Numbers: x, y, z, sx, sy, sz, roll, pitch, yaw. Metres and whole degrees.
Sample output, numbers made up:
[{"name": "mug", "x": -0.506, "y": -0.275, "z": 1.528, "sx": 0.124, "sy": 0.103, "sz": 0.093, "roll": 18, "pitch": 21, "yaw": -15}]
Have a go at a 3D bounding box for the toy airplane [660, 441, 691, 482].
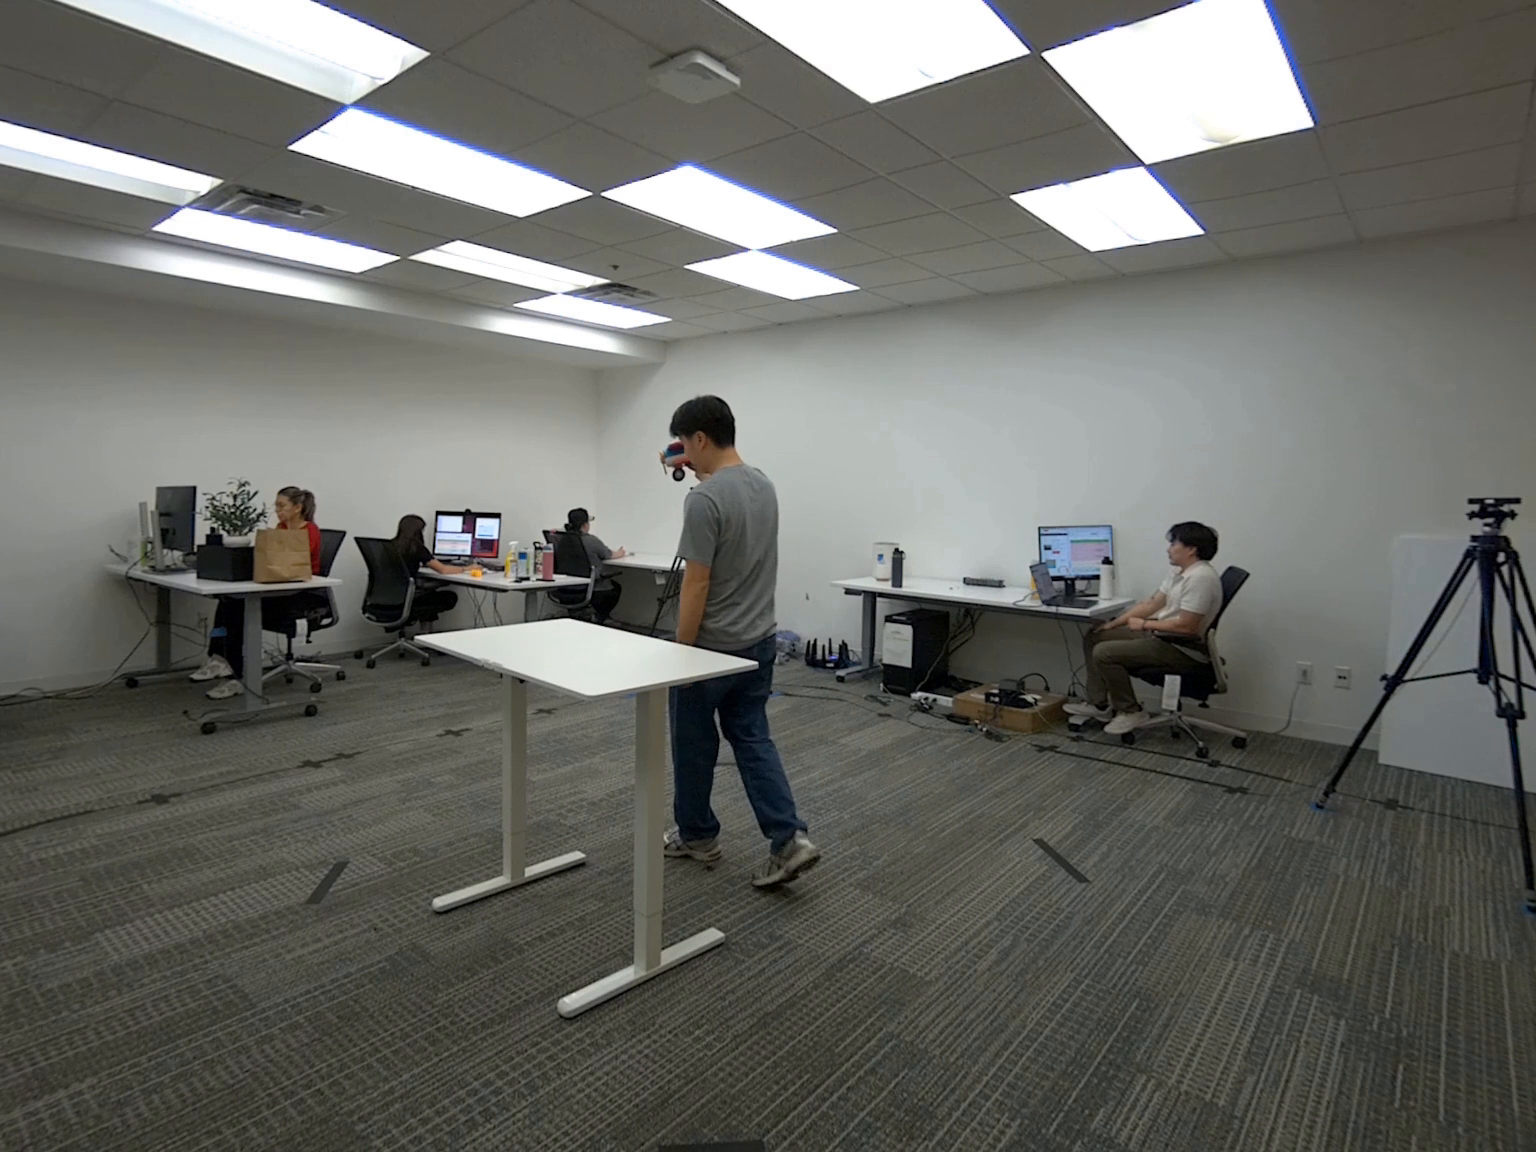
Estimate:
[{"name": "toy airplane", "x": -0.349, "y": -0.519, "z": 3.648, "sx": 0.256, "sy": 0.155, "sz": 0.255, "roll": -32, "pitch": 7, "yaw": -33}]
